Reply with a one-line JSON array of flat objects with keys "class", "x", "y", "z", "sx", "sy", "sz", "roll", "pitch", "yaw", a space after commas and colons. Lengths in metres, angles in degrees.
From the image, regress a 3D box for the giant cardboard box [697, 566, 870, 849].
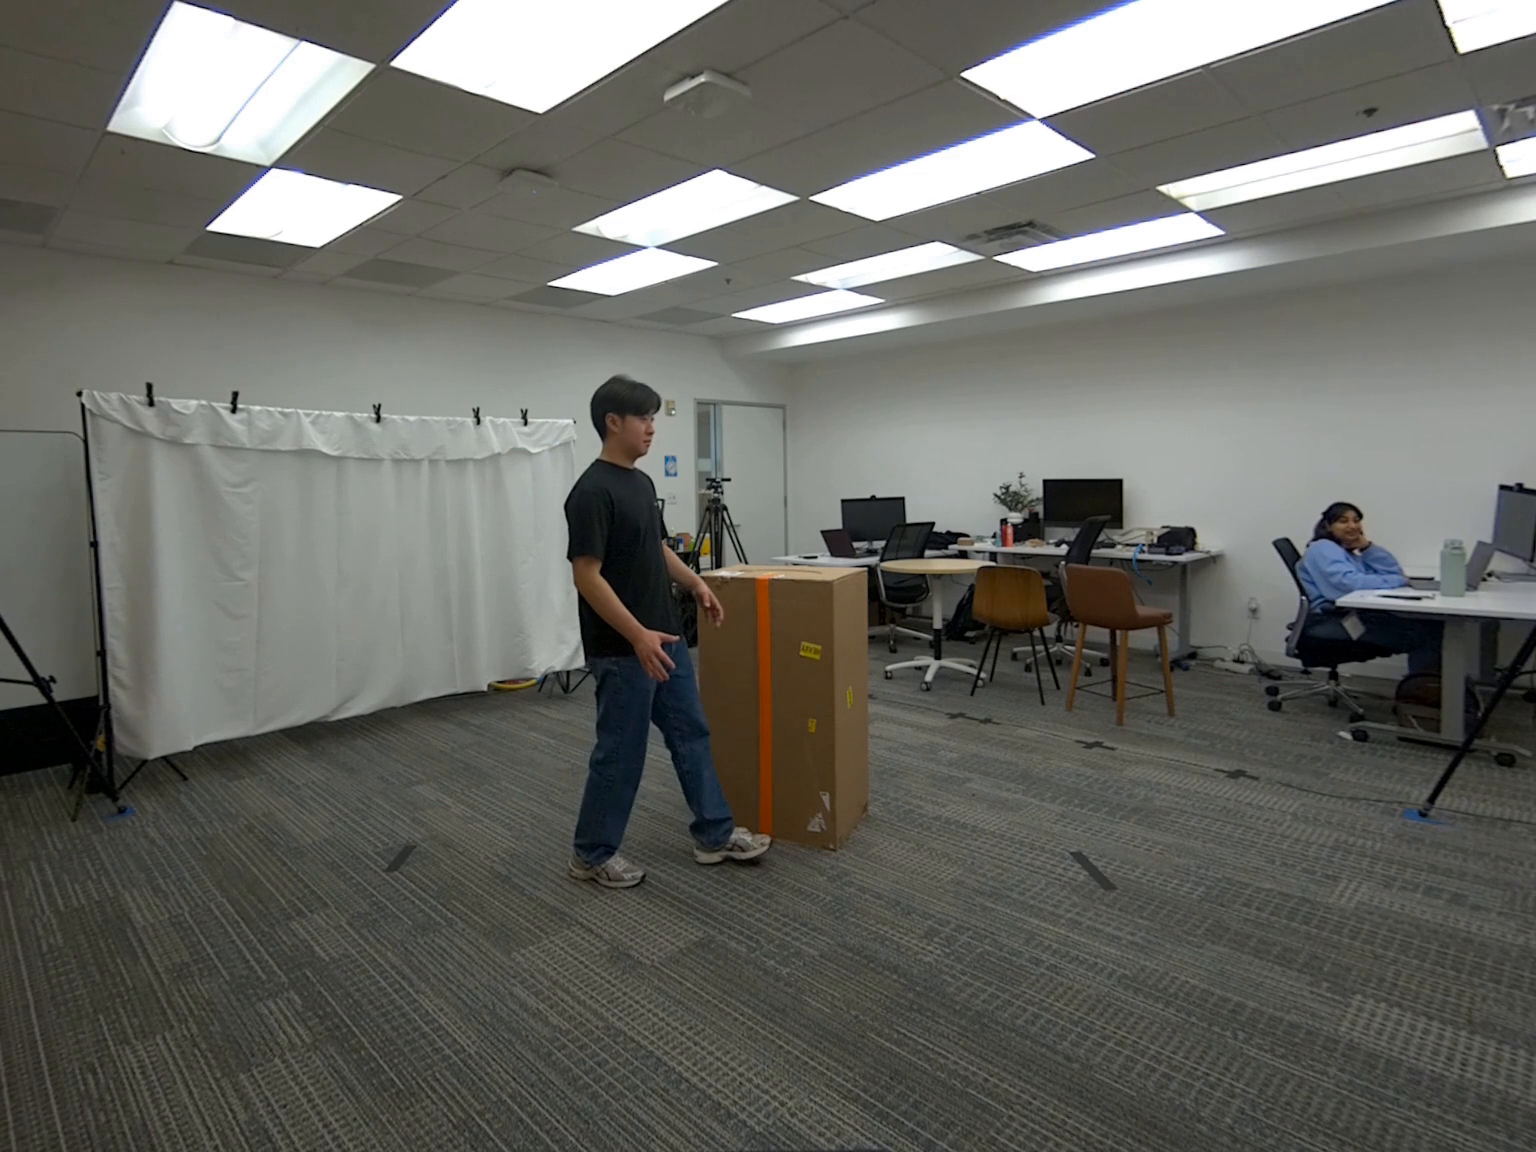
[{"class": "giant cardboard box", "x": 0.072, "y": 0.484, "z": 3.472, "sx": 0.598, "sy": 1.022, "sz": 0.438, "roll": 1, "pitch": 6, "yaw": 27}]
